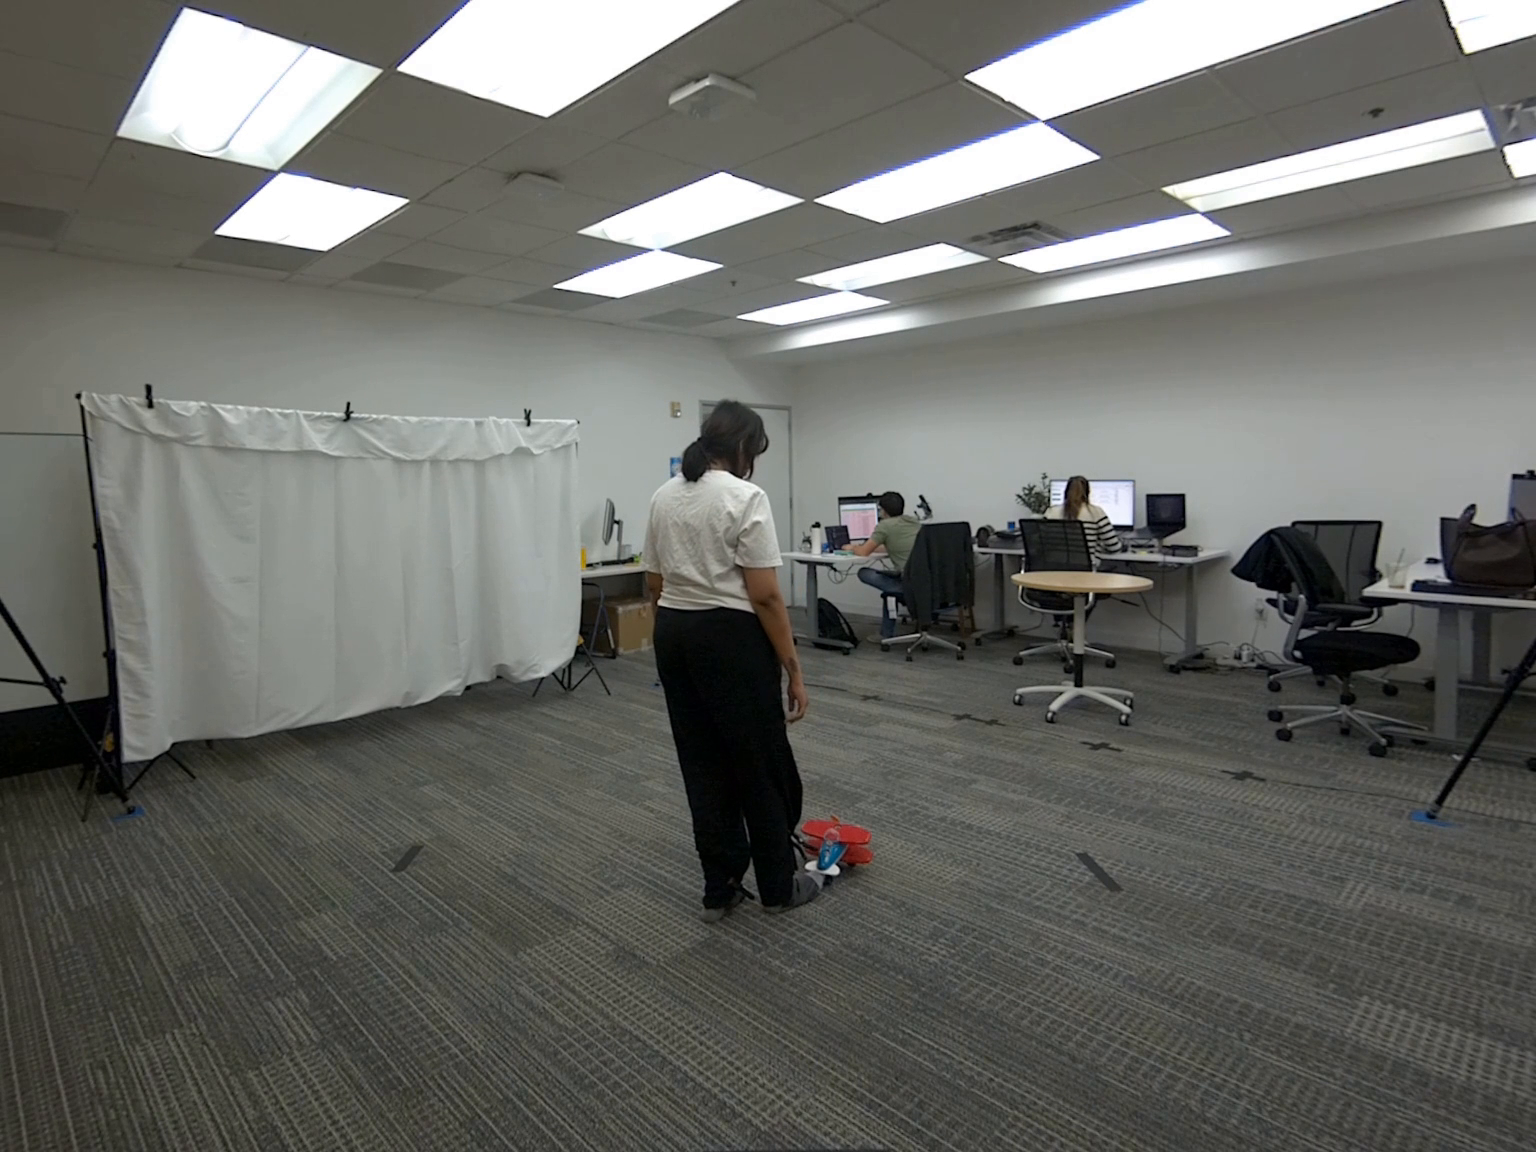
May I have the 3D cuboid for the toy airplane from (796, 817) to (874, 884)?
[{"bbox_3d":[0.254,0.976,3.017,0.251,0.156,0.261,0,4,-3],"label":"toy airplane"}]
